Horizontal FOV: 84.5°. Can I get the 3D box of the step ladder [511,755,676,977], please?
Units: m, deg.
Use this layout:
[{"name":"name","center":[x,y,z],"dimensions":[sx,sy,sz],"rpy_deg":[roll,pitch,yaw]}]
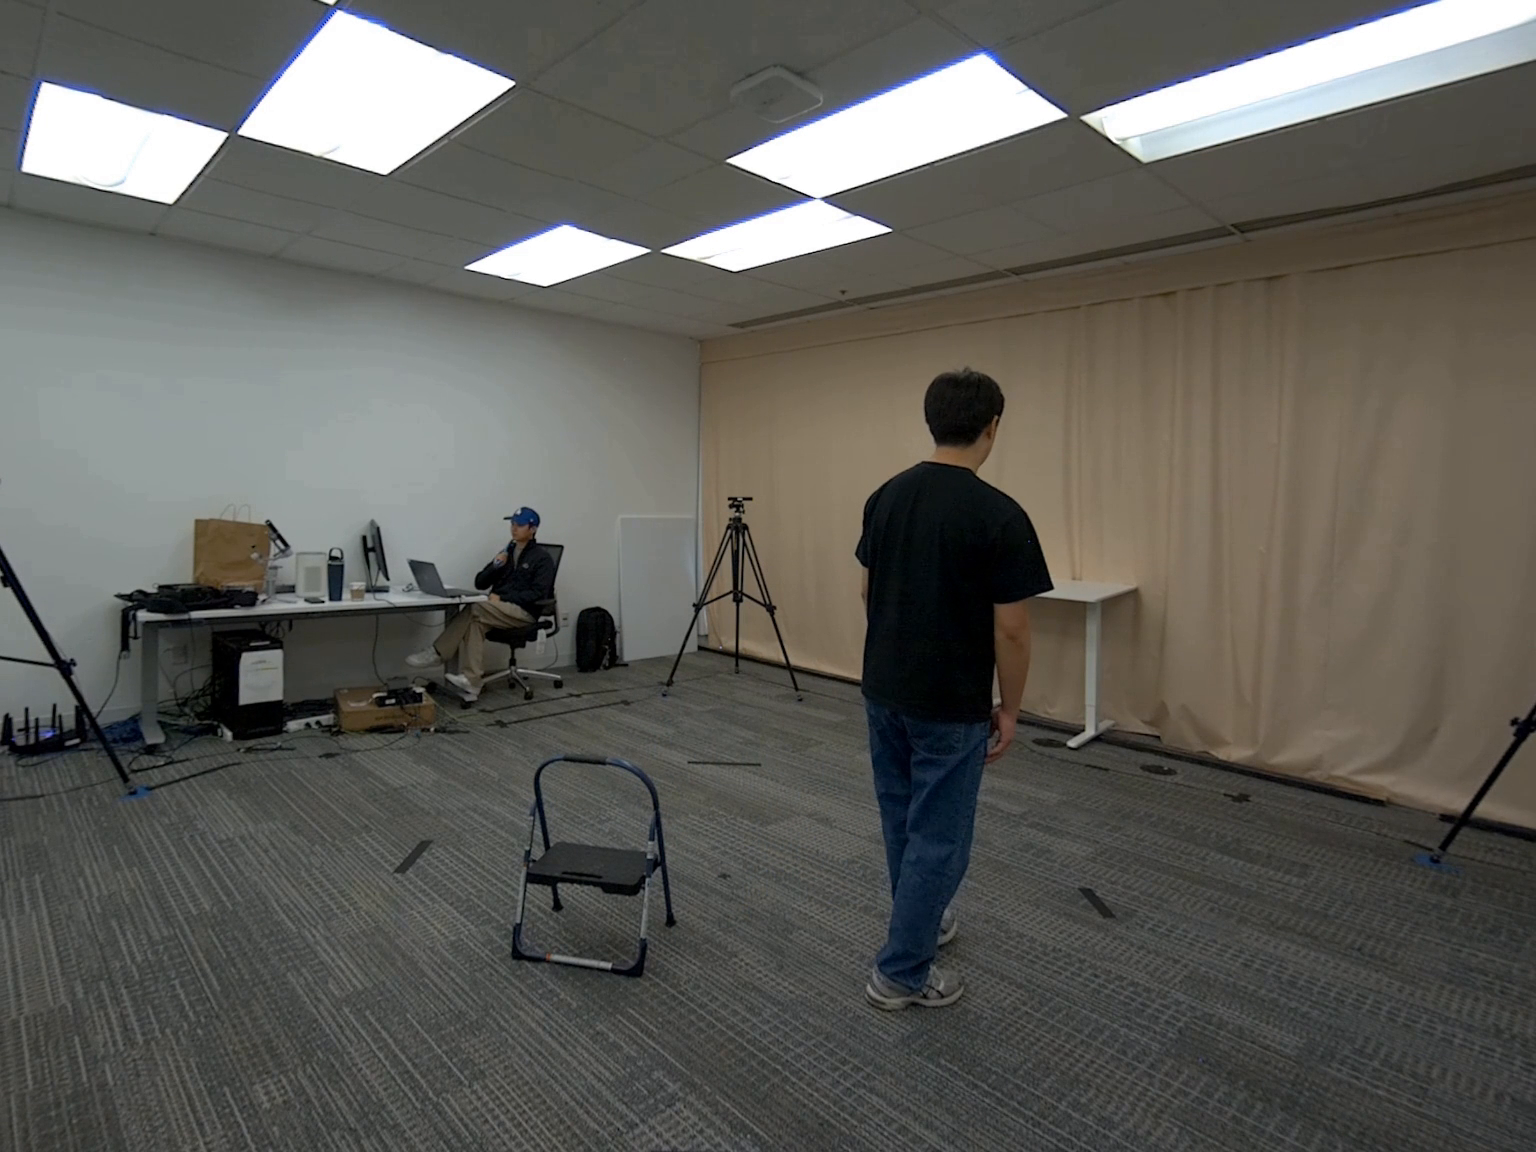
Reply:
[{"name":"step ladder","center":[-0.538,0.843,2.627],"dimensions":[0.434,0.605,0.347],"rpy_deg":[2,3,10]}]
